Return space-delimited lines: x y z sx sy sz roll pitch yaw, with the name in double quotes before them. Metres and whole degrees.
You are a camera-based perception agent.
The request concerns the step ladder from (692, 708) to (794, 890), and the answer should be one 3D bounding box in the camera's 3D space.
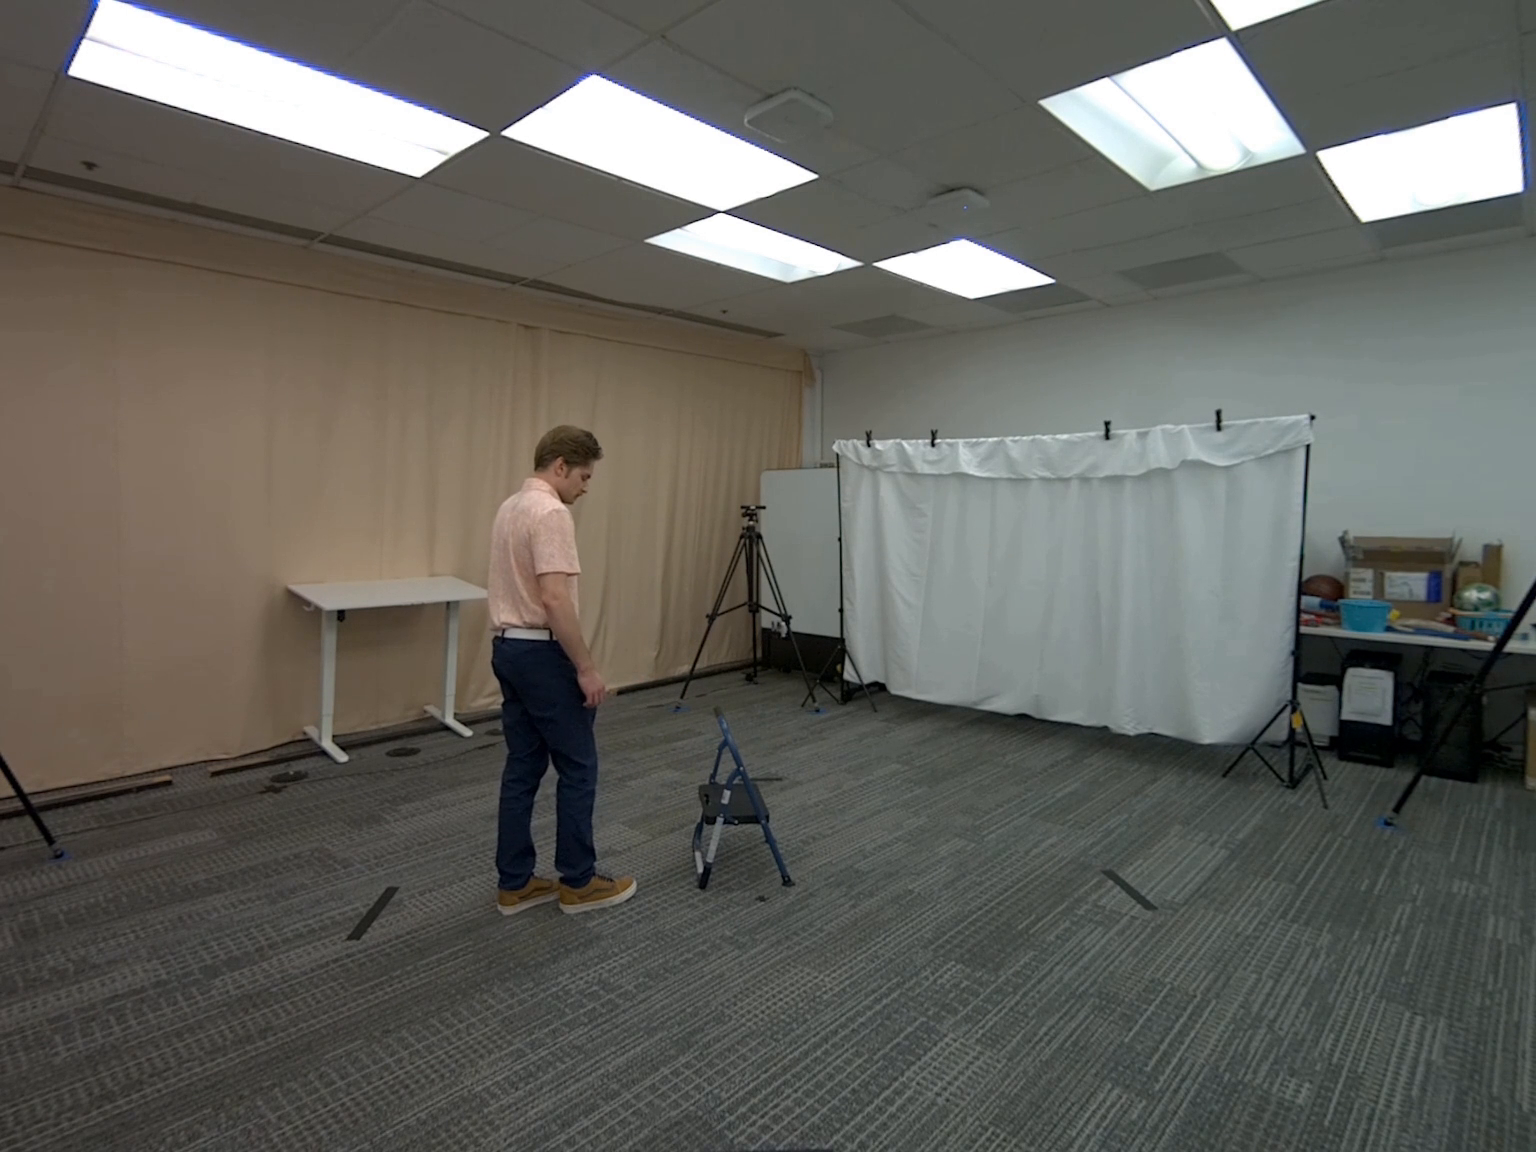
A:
"step ladder" -0.112 0.822 3.261 0.346 0.605 0.435 0 3 -10
